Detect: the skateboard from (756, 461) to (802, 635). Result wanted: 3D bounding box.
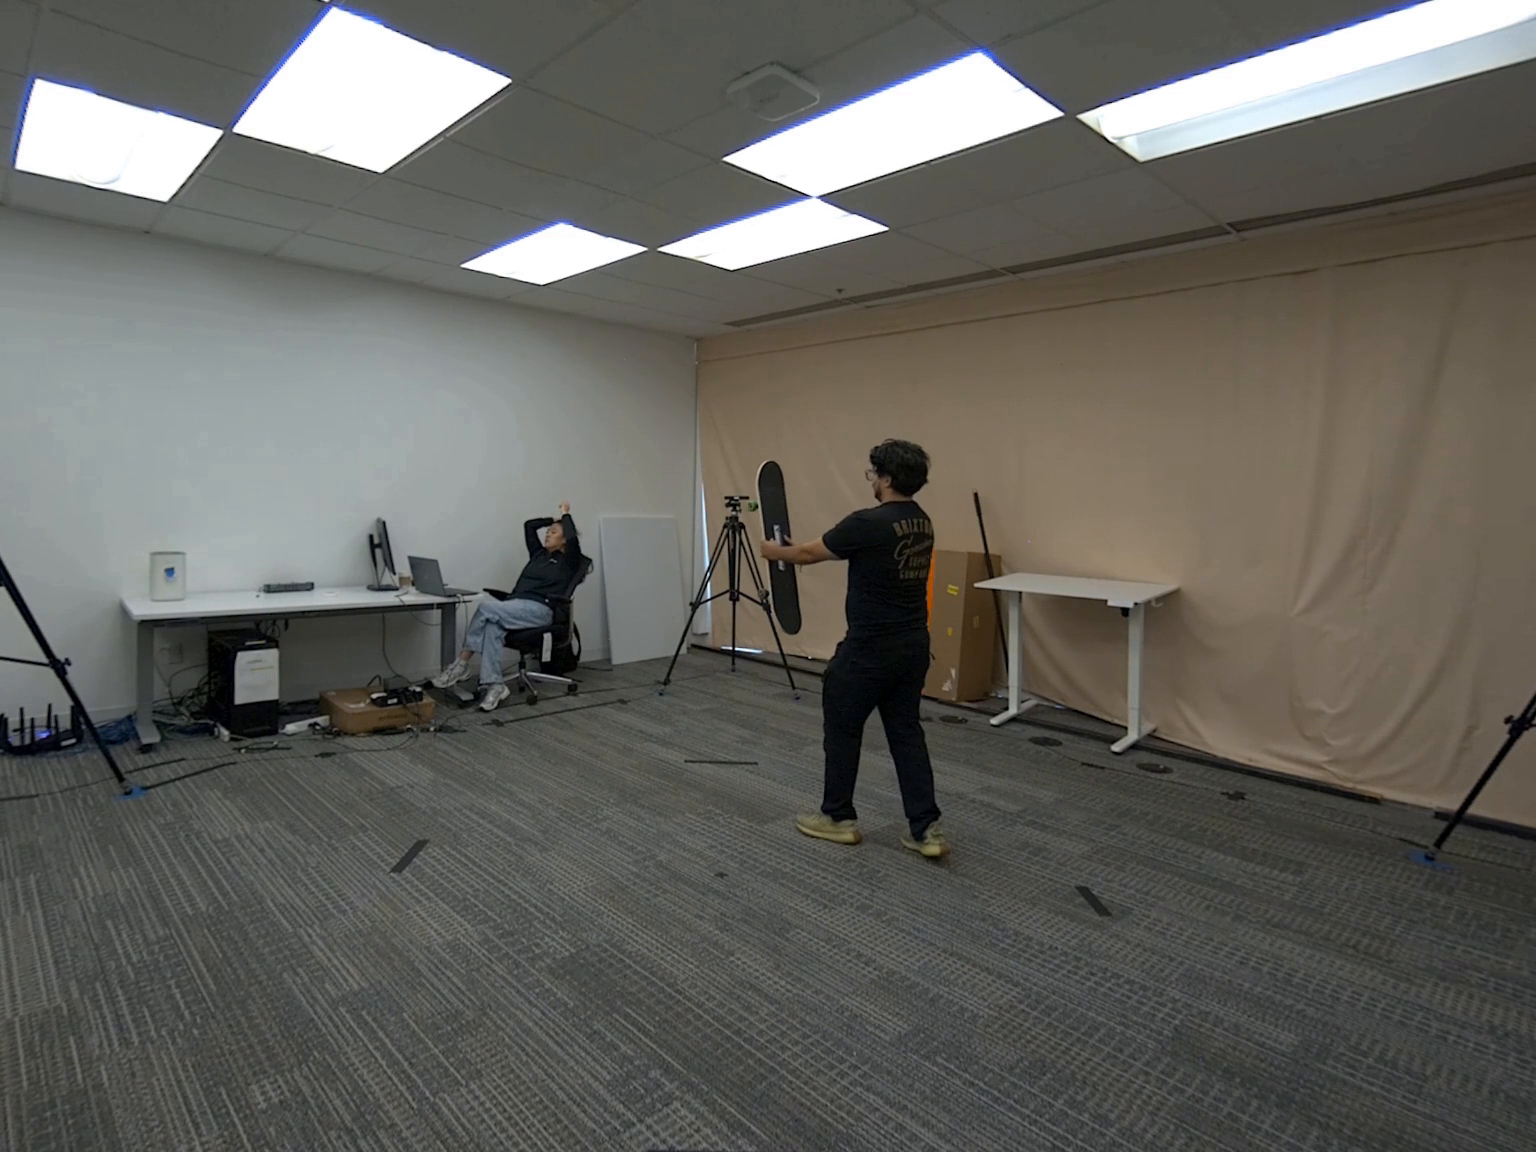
[{"bbox_3d":[0.018,-0.125,3.797,0.112,0.789,0.189,-12,-7,41],"label":"skateboard"}]
